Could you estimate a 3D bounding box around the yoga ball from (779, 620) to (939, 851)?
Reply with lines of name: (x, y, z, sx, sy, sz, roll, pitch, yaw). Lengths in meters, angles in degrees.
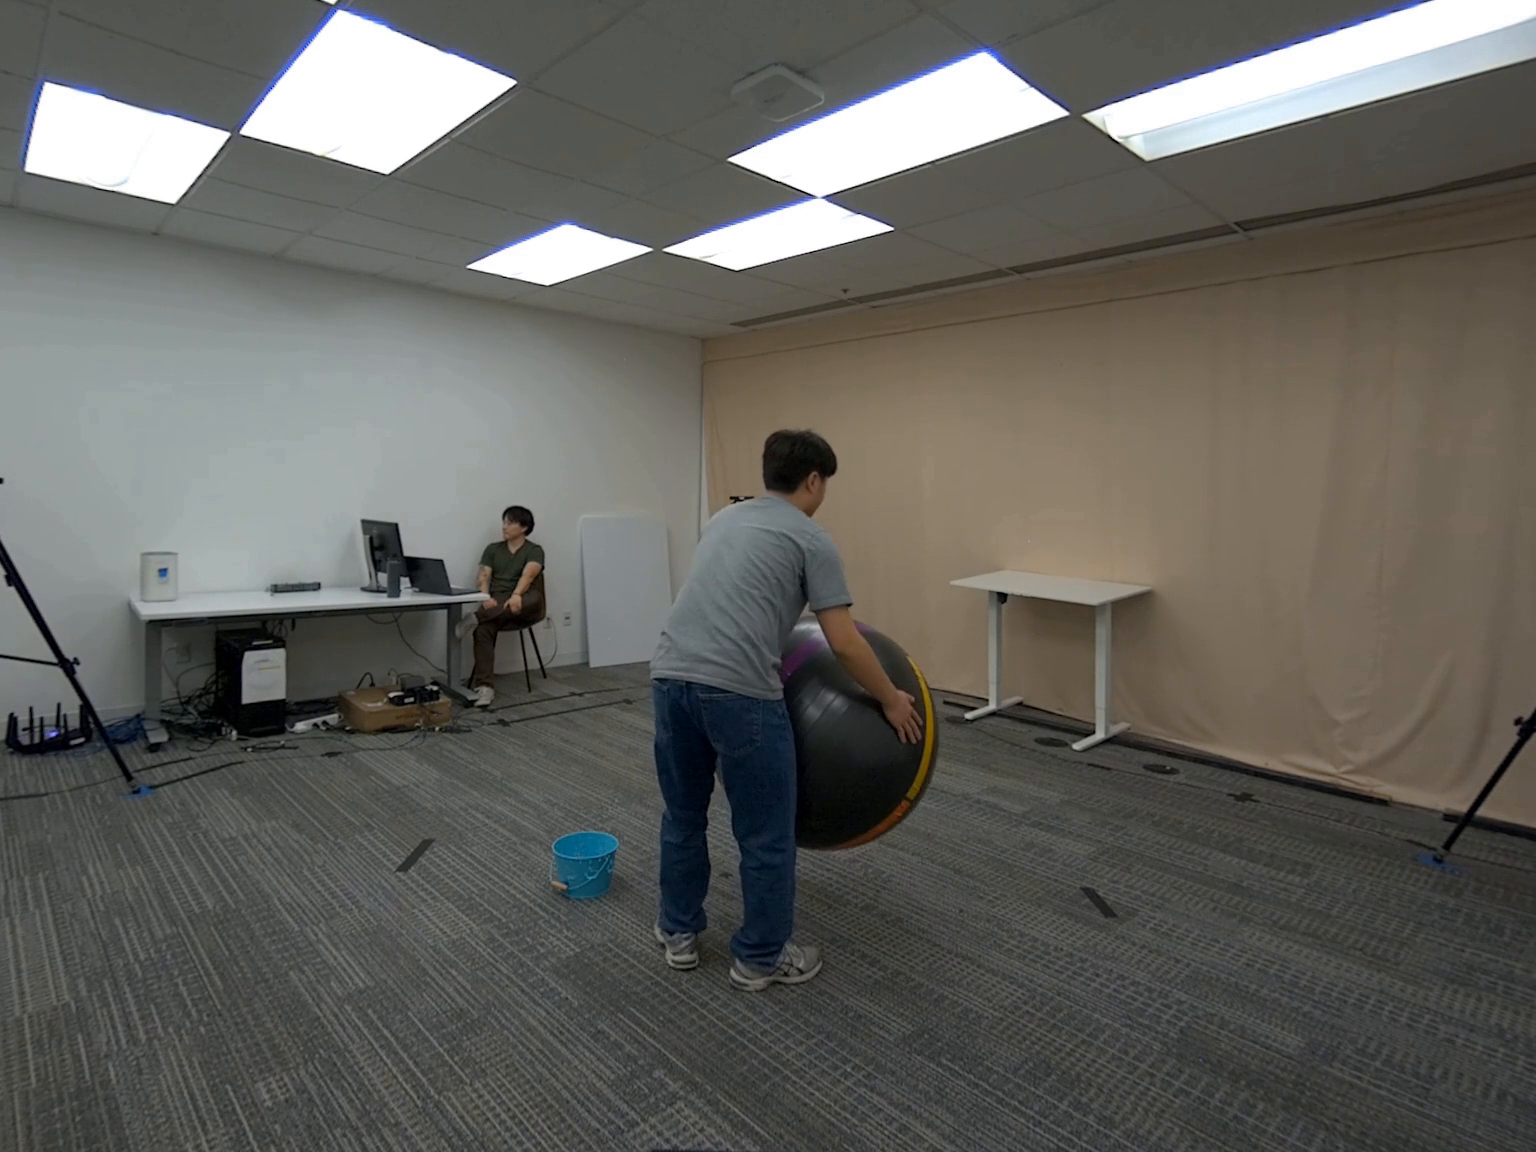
yoga ball: (0.166, 0.519, 2.808, 0.757, 0.756, 0.761, 1, 4, -1)
